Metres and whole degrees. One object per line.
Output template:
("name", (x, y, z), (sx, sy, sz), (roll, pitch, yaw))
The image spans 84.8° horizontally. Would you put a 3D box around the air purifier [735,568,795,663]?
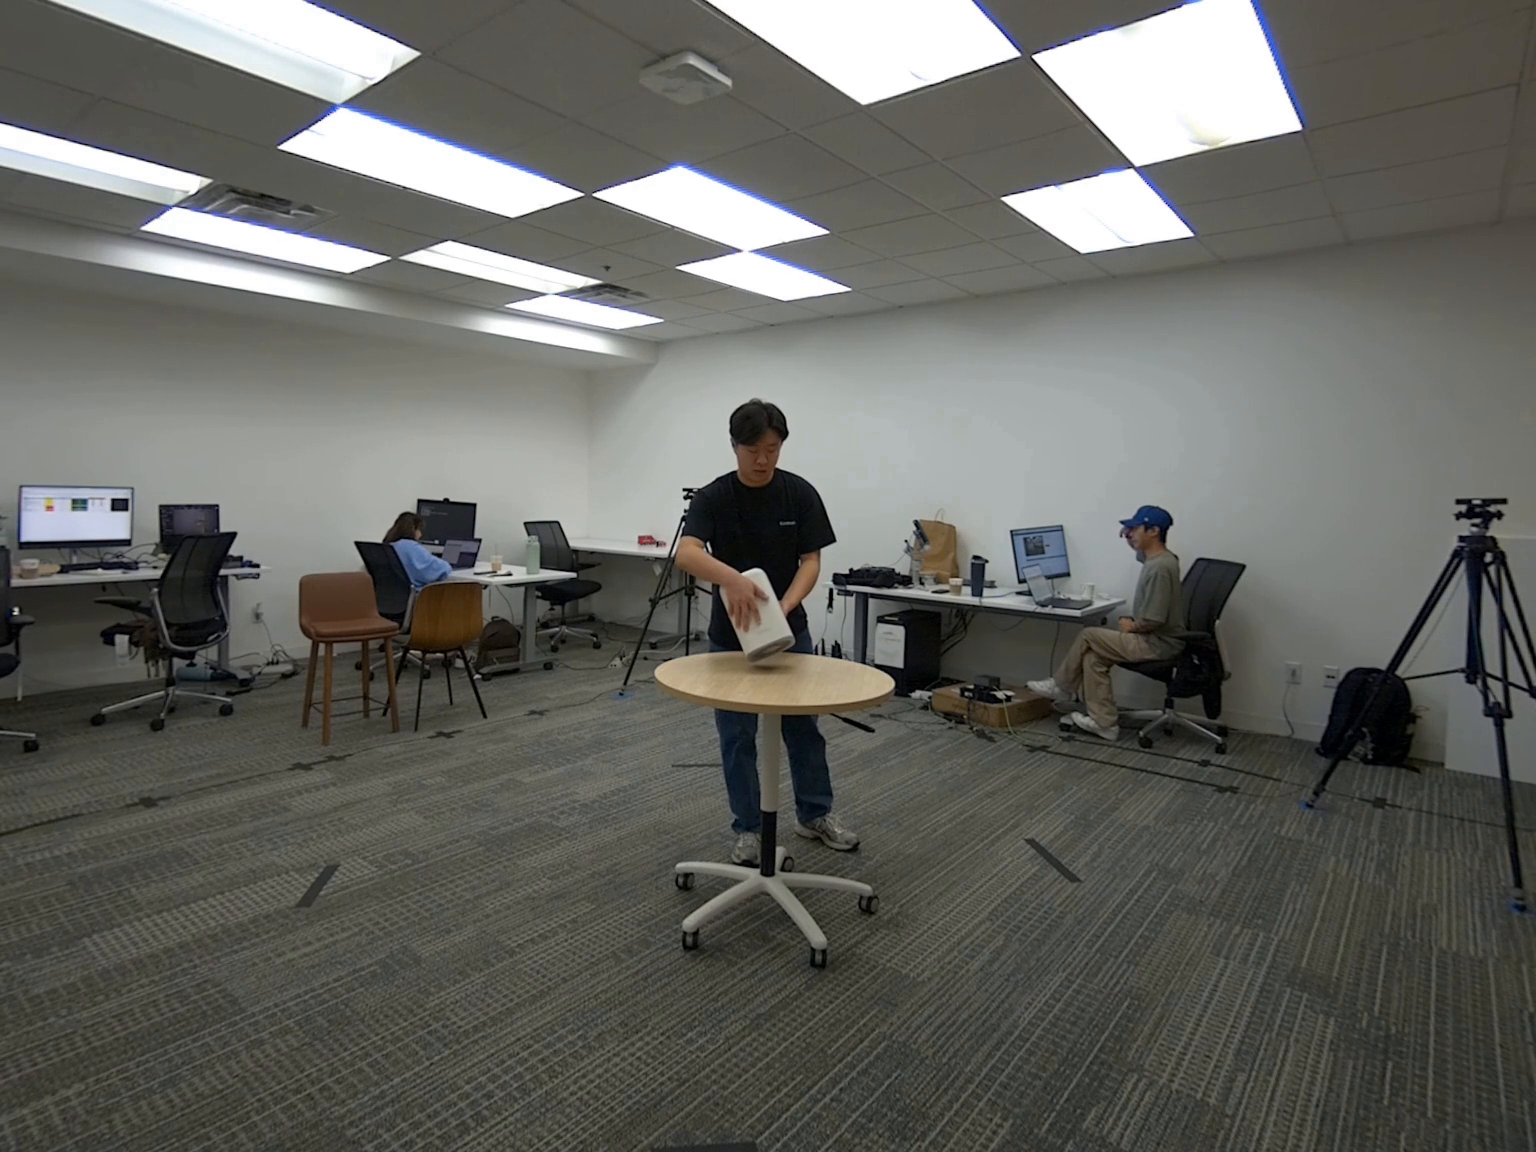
("air purifier", (-0.048, 0.123, 2.852), (0.171, 0.272, 0.167), (-23, -20, -1))
